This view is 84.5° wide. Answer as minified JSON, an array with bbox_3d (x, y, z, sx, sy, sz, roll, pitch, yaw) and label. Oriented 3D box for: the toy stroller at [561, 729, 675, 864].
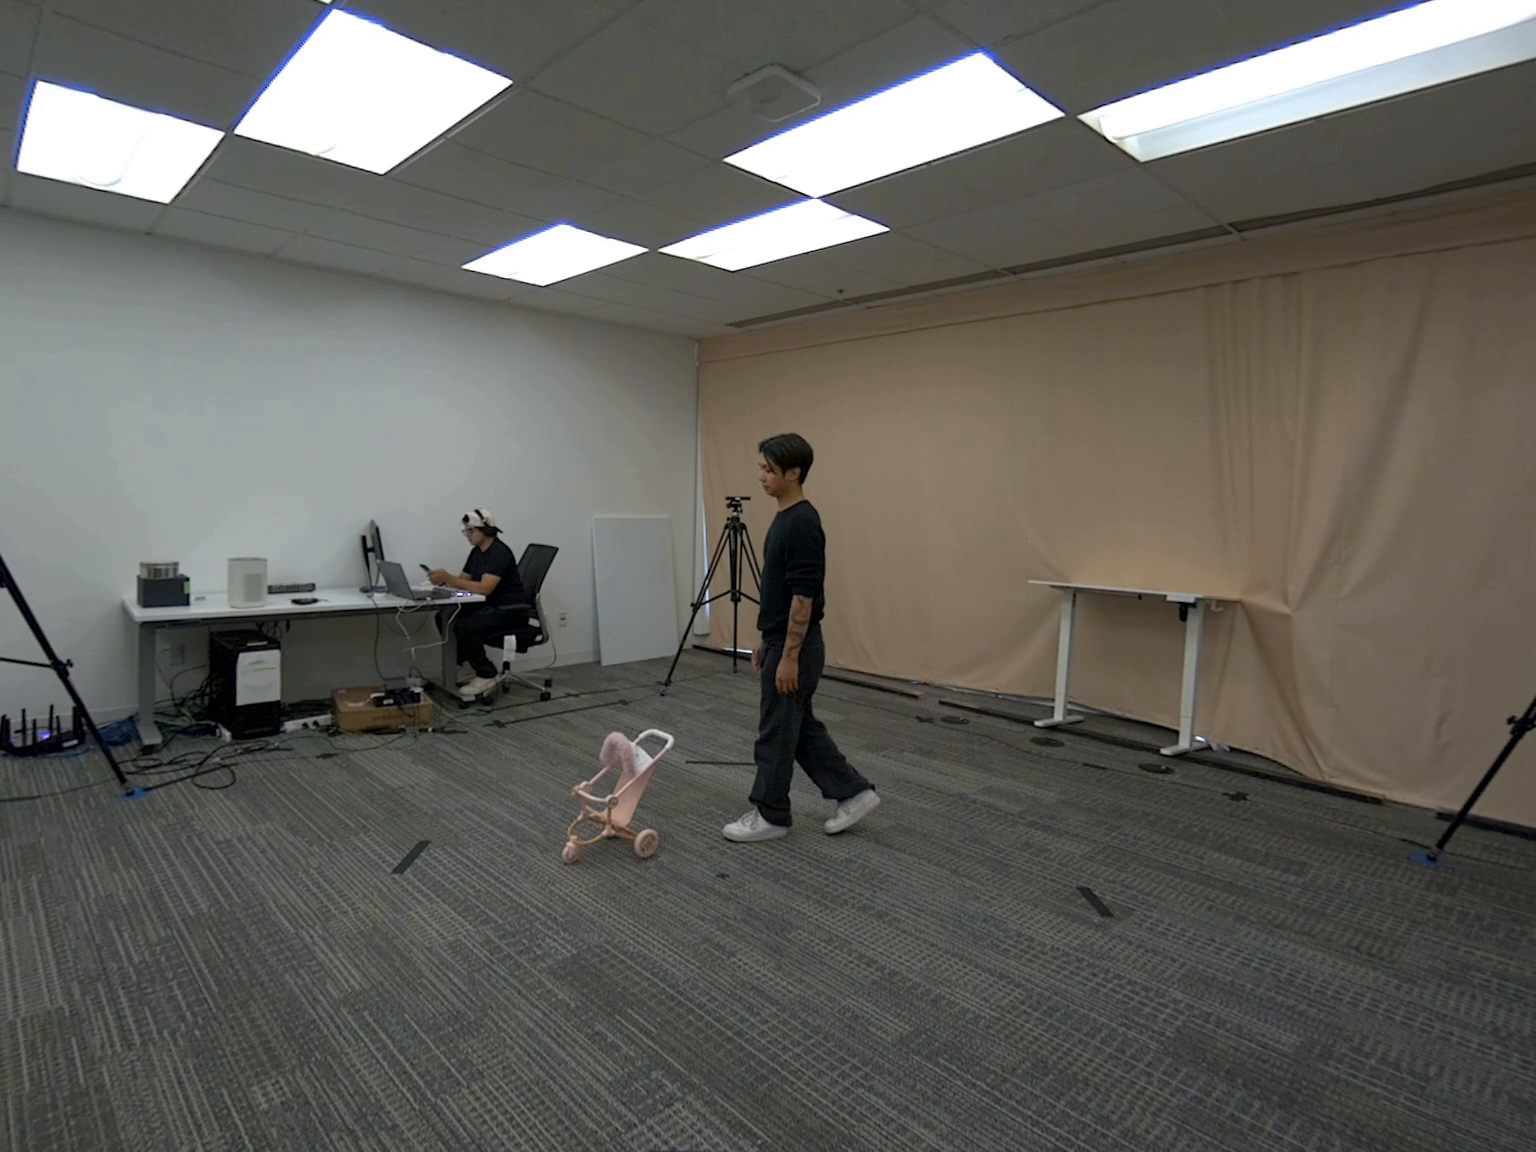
[{"bbox_3d":[-0.606,0.854,3.292,0.332,0.537,0.288,18,-7,-36],"label":"toy stroller"}]
